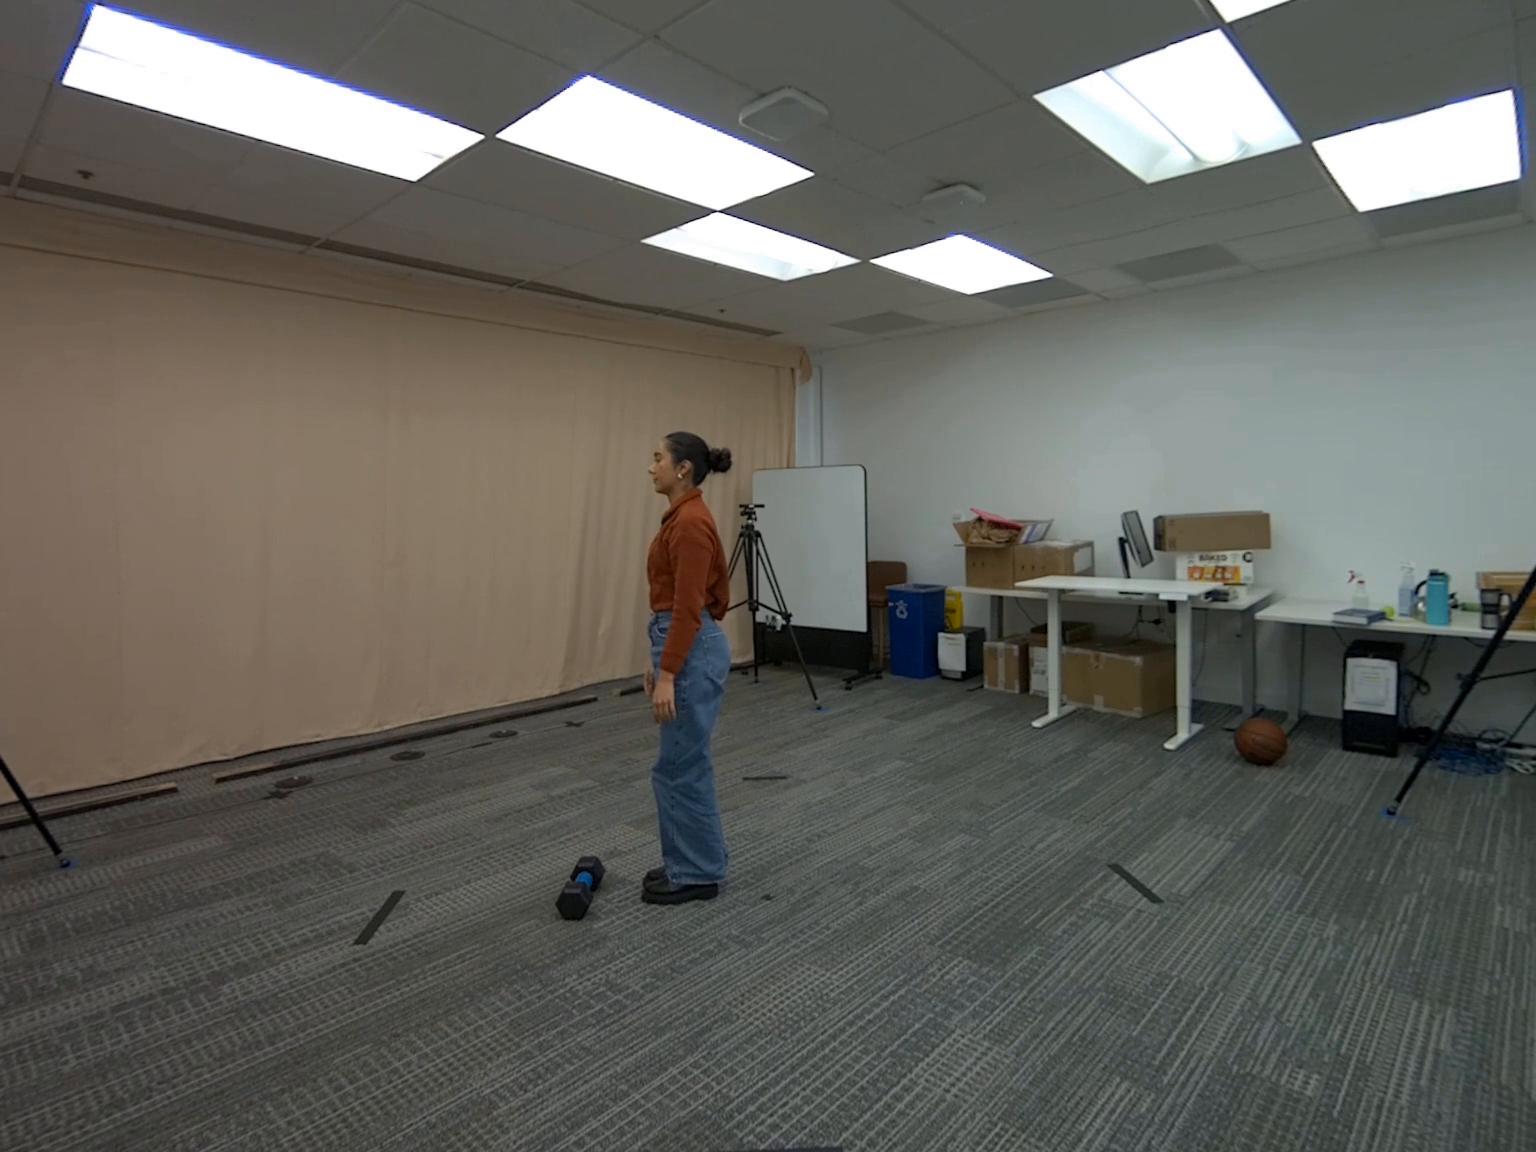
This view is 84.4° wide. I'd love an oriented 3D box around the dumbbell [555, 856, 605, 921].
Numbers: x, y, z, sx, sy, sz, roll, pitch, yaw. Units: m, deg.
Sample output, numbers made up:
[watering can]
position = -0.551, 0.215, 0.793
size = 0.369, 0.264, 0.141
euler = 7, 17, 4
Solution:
[dumbbell]
position = -0.658, 1.104, 2.986
size = 0.109, 0.123, 0.294
euler = 29, 4, -2
